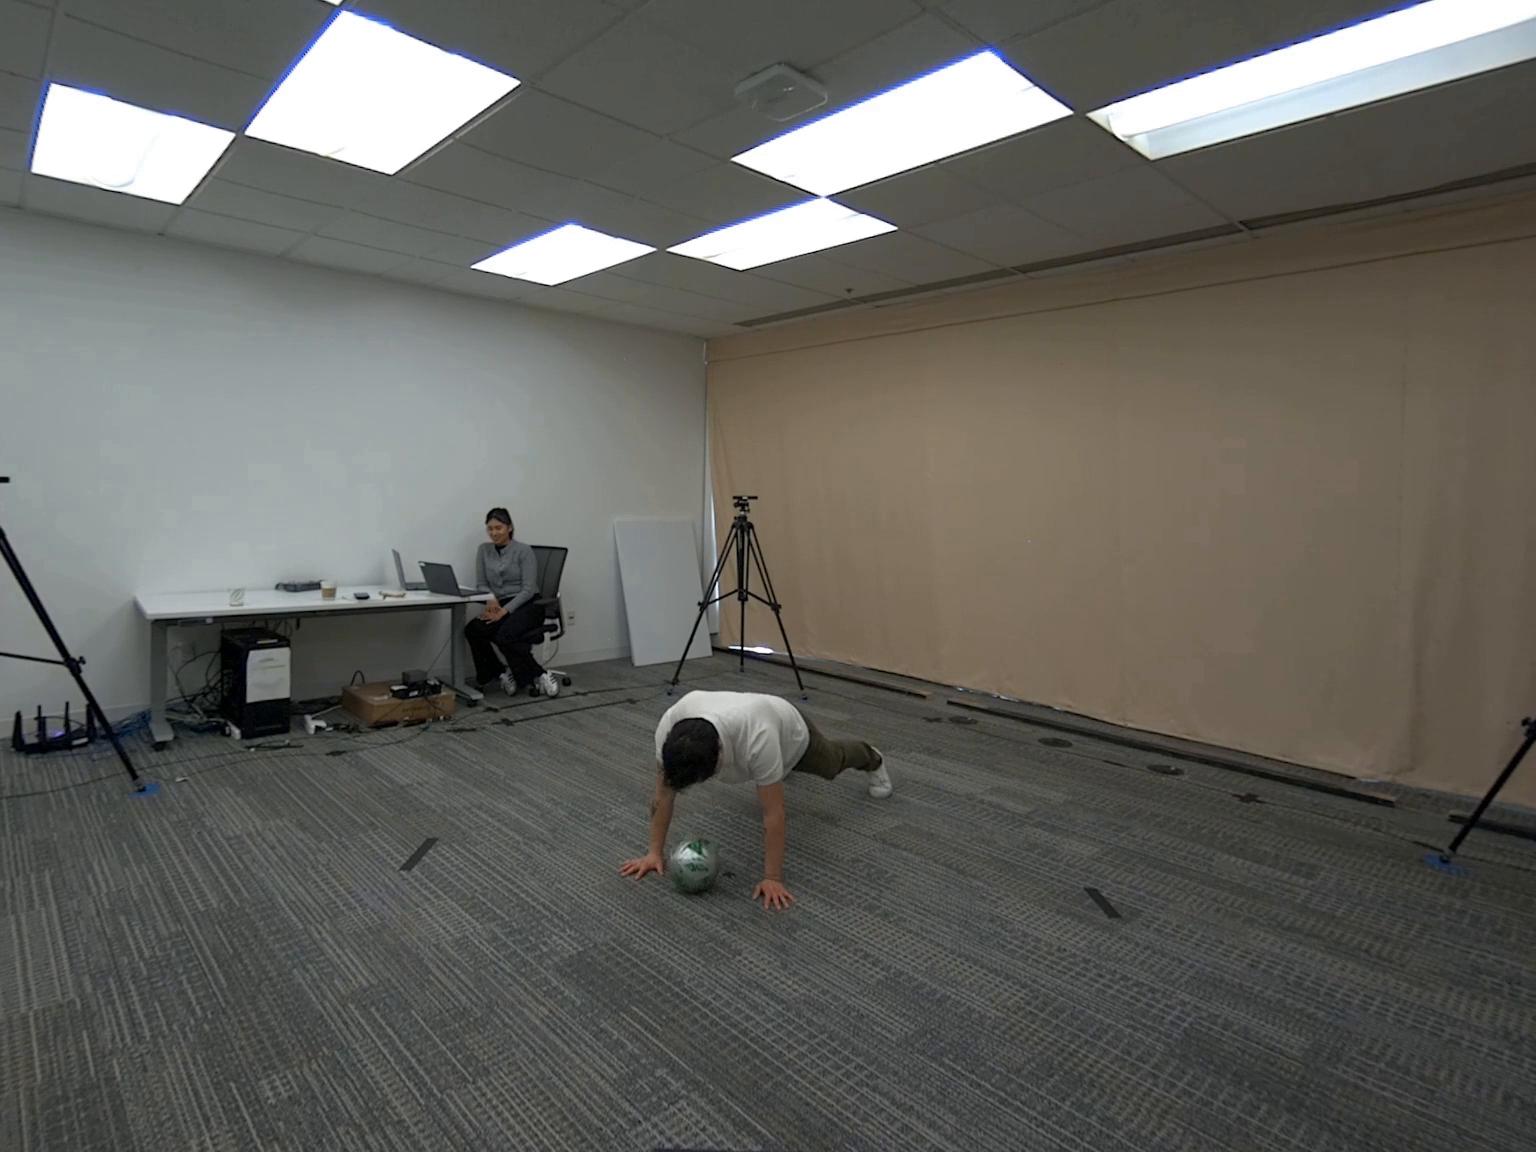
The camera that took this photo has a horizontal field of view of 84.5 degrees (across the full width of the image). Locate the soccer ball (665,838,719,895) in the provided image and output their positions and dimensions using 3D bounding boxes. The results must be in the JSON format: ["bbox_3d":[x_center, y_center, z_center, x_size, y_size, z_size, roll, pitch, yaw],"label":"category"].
[{"bbox_3d":[-0.278,1.019,2.974,0.187,0.187,0.188,1,4,-1],"label":"soccer ball"}]
